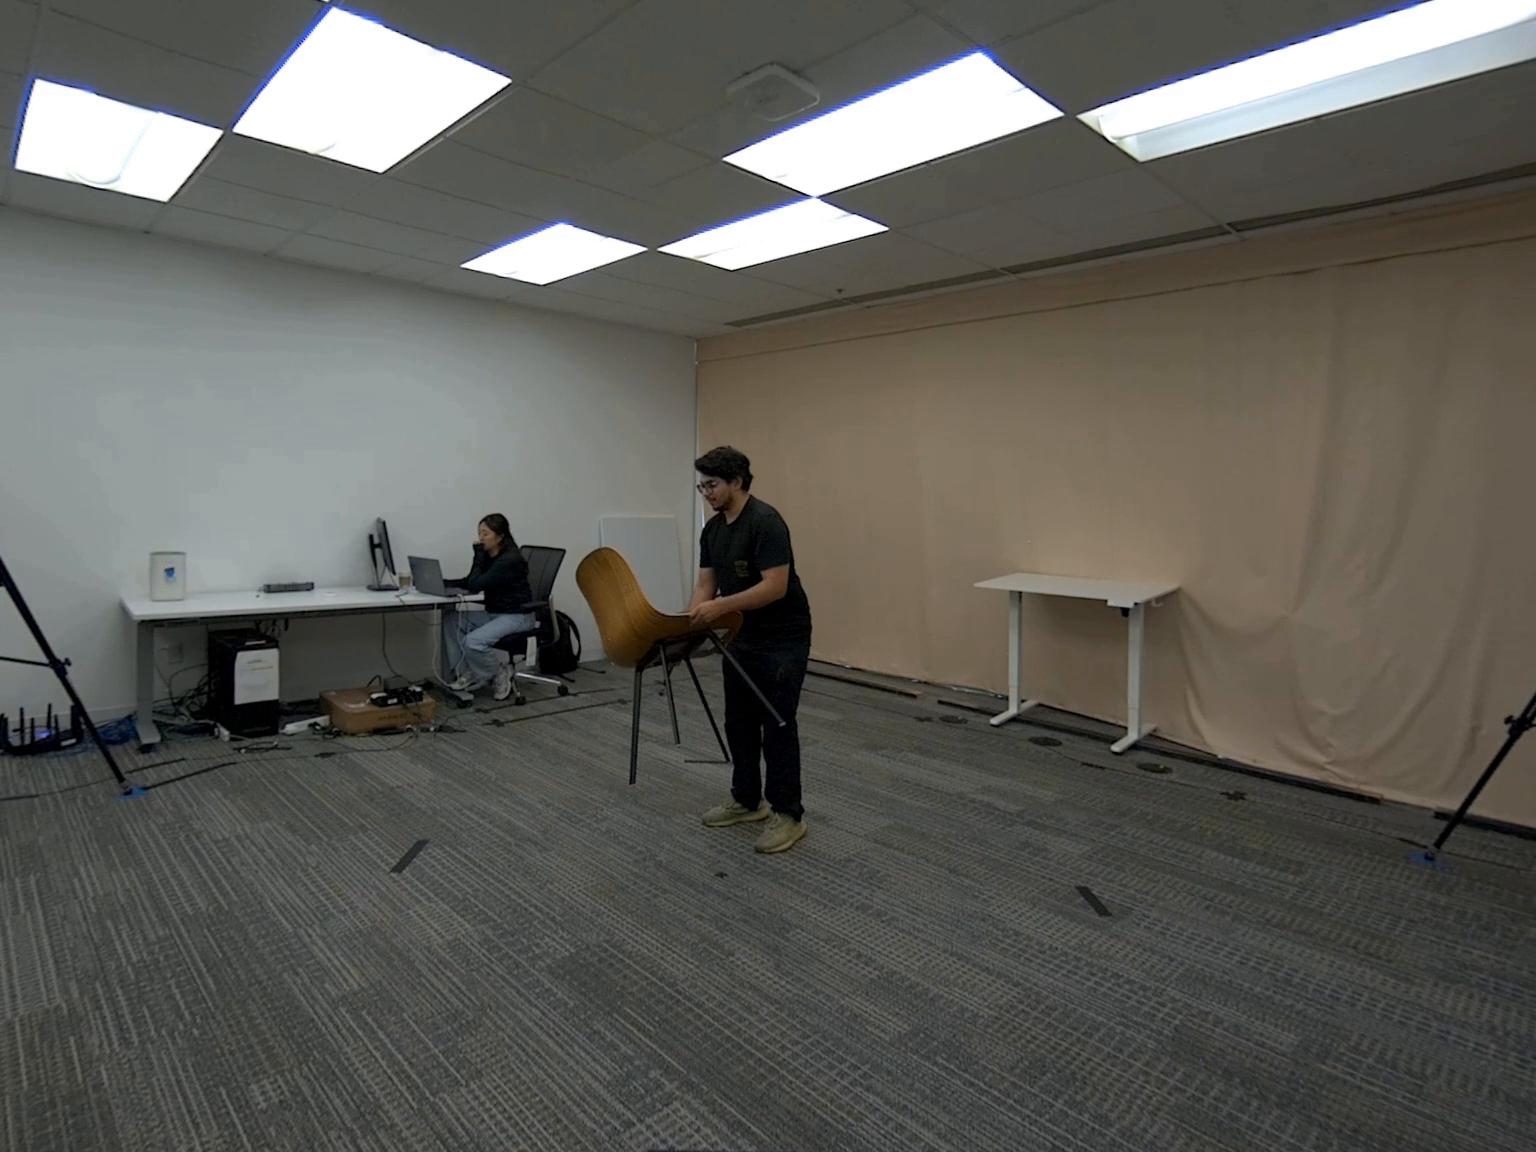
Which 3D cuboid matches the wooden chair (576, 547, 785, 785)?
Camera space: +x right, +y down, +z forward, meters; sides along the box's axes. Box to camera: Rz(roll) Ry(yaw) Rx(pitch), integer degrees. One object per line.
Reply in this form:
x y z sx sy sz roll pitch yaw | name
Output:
-0.375 0.301 3.296 0.513 0.895 0.478 -8 -26 -36 | wooden chair
